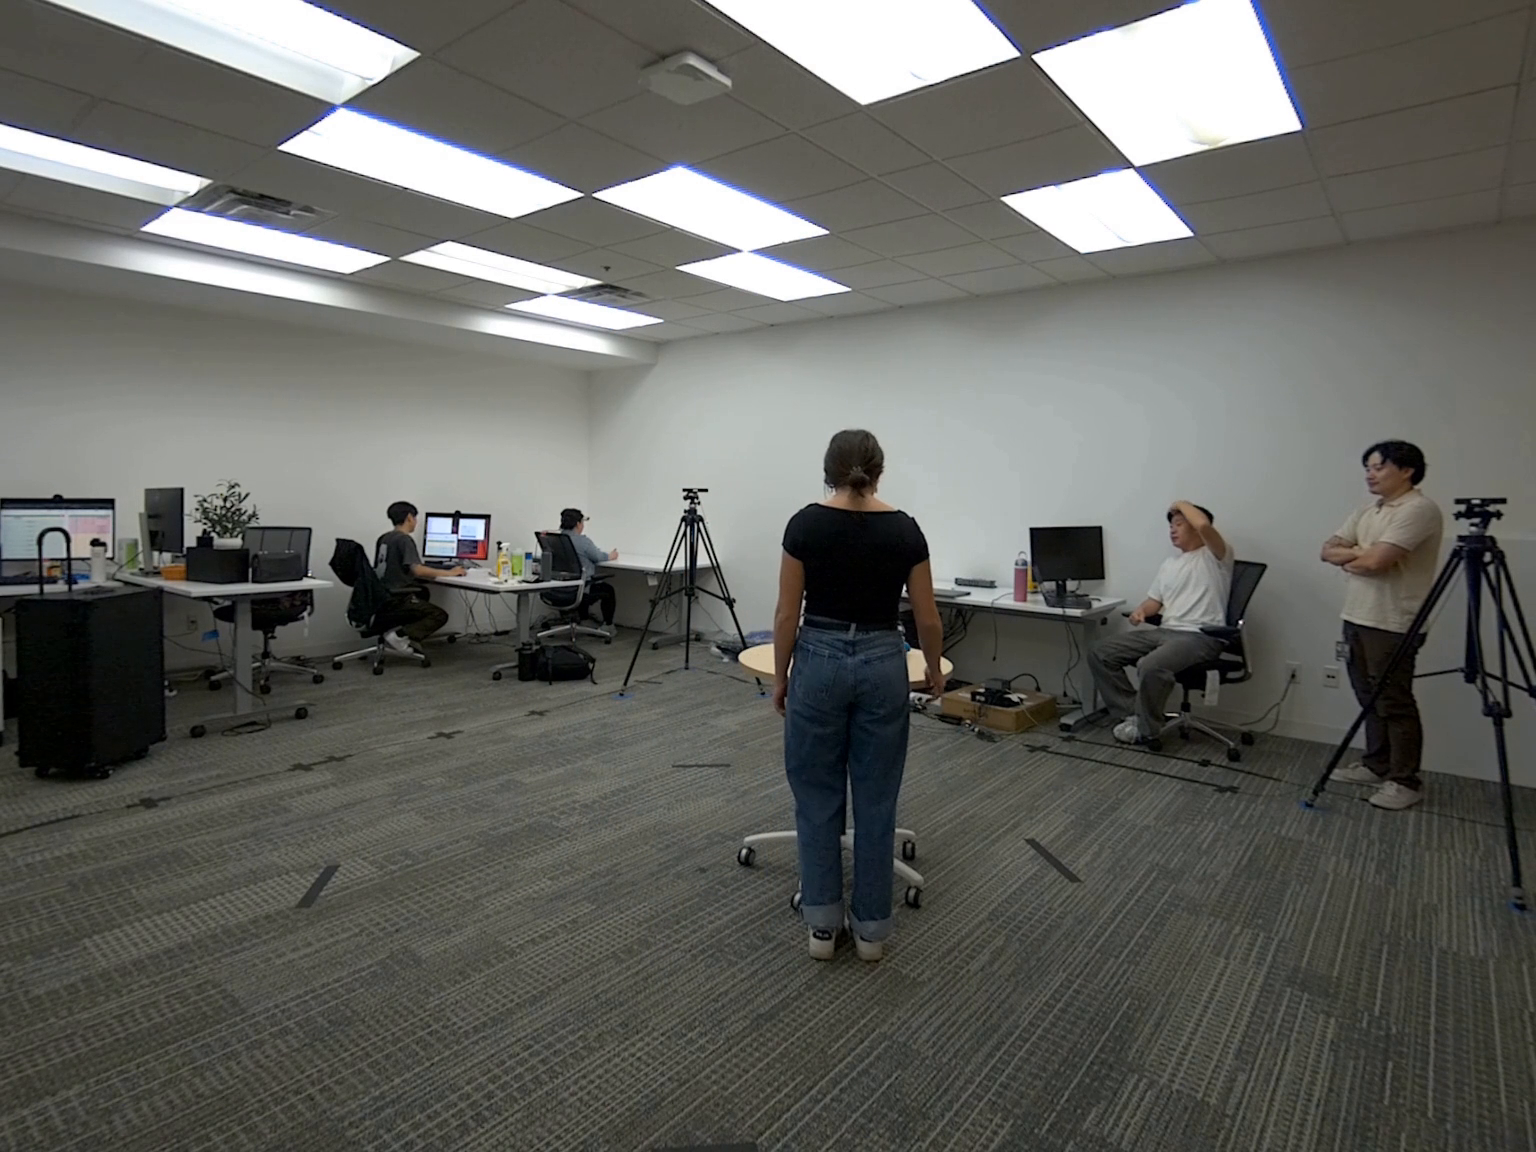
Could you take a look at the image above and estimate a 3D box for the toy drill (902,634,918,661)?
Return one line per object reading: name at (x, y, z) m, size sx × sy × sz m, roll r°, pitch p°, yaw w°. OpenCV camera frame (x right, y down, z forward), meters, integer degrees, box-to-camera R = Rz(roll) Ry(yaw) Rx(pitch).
toy drill at (0.469, 0.254, 3.170) m, size 0.173 × 0.061 × 0.144 m, roll 11°, pitch 8°, yaw 13°
